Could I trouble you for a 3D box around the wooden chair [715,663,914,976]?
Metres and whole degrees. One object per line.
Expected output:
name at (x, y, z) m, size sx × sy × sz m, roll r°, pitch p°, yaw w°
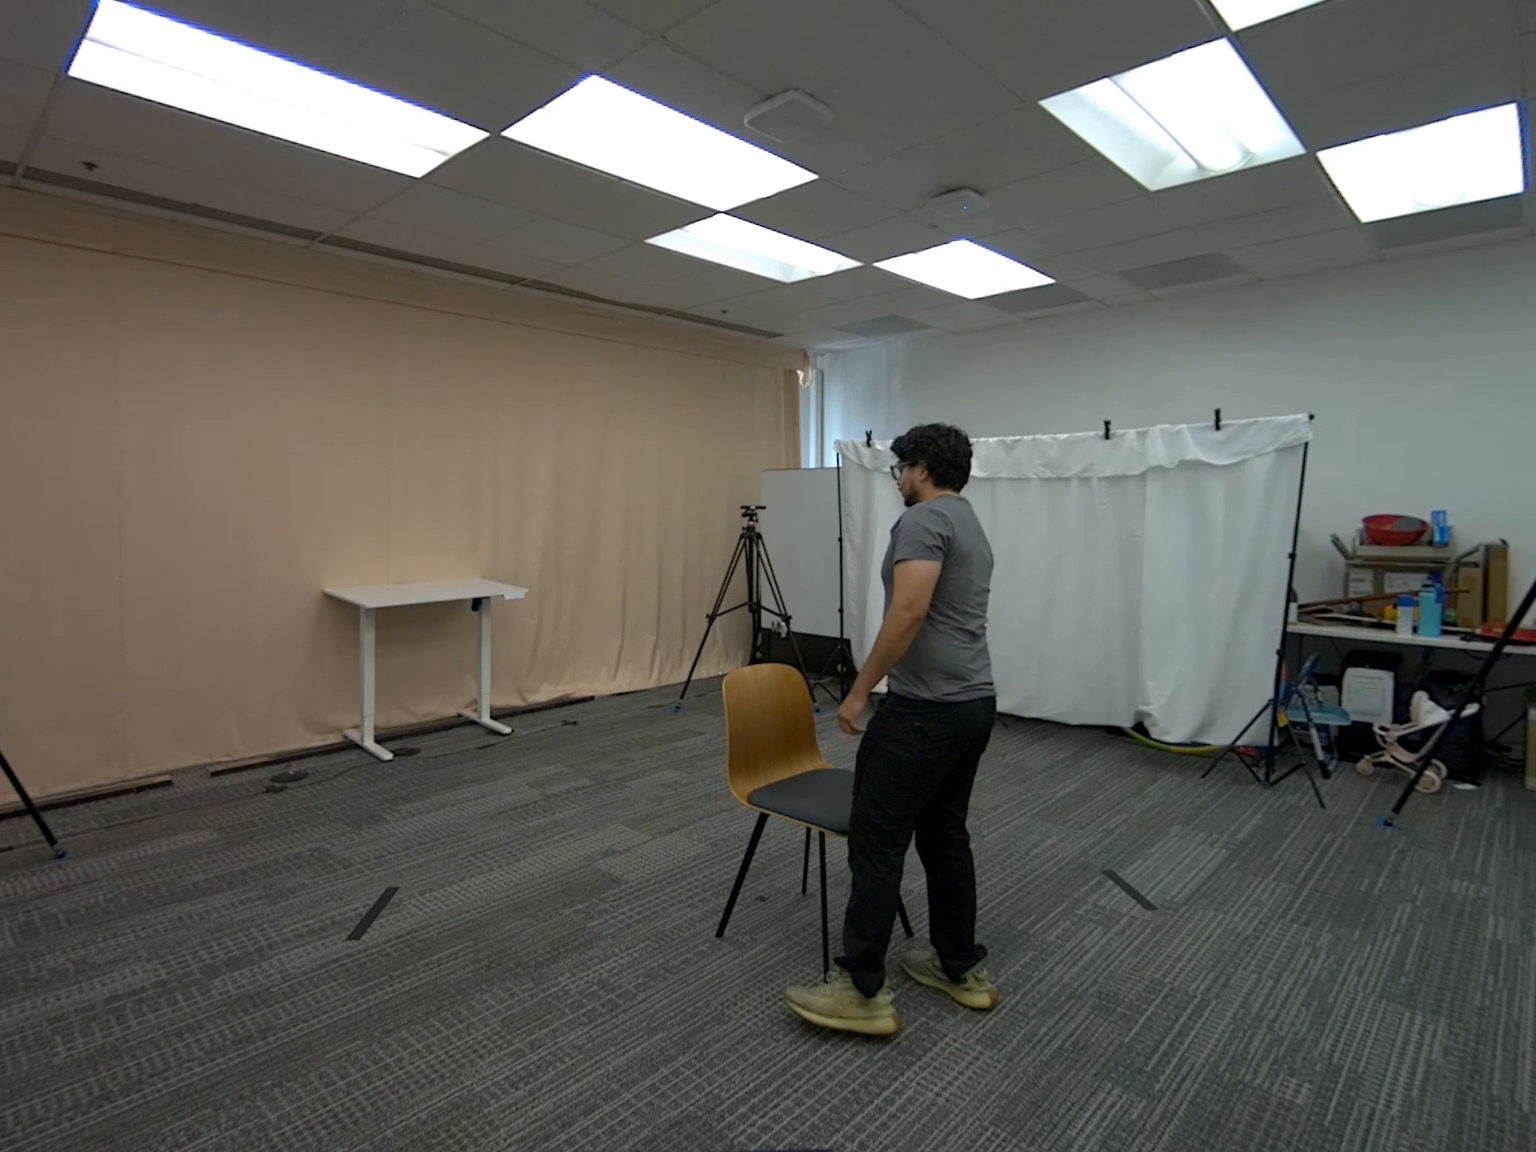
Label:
wooden chair at (0.155, 0.743, 2.686) m, size 0.539 × 0.877 × 0.463 m, roll -3°, pitch 0°, yaw 44°
